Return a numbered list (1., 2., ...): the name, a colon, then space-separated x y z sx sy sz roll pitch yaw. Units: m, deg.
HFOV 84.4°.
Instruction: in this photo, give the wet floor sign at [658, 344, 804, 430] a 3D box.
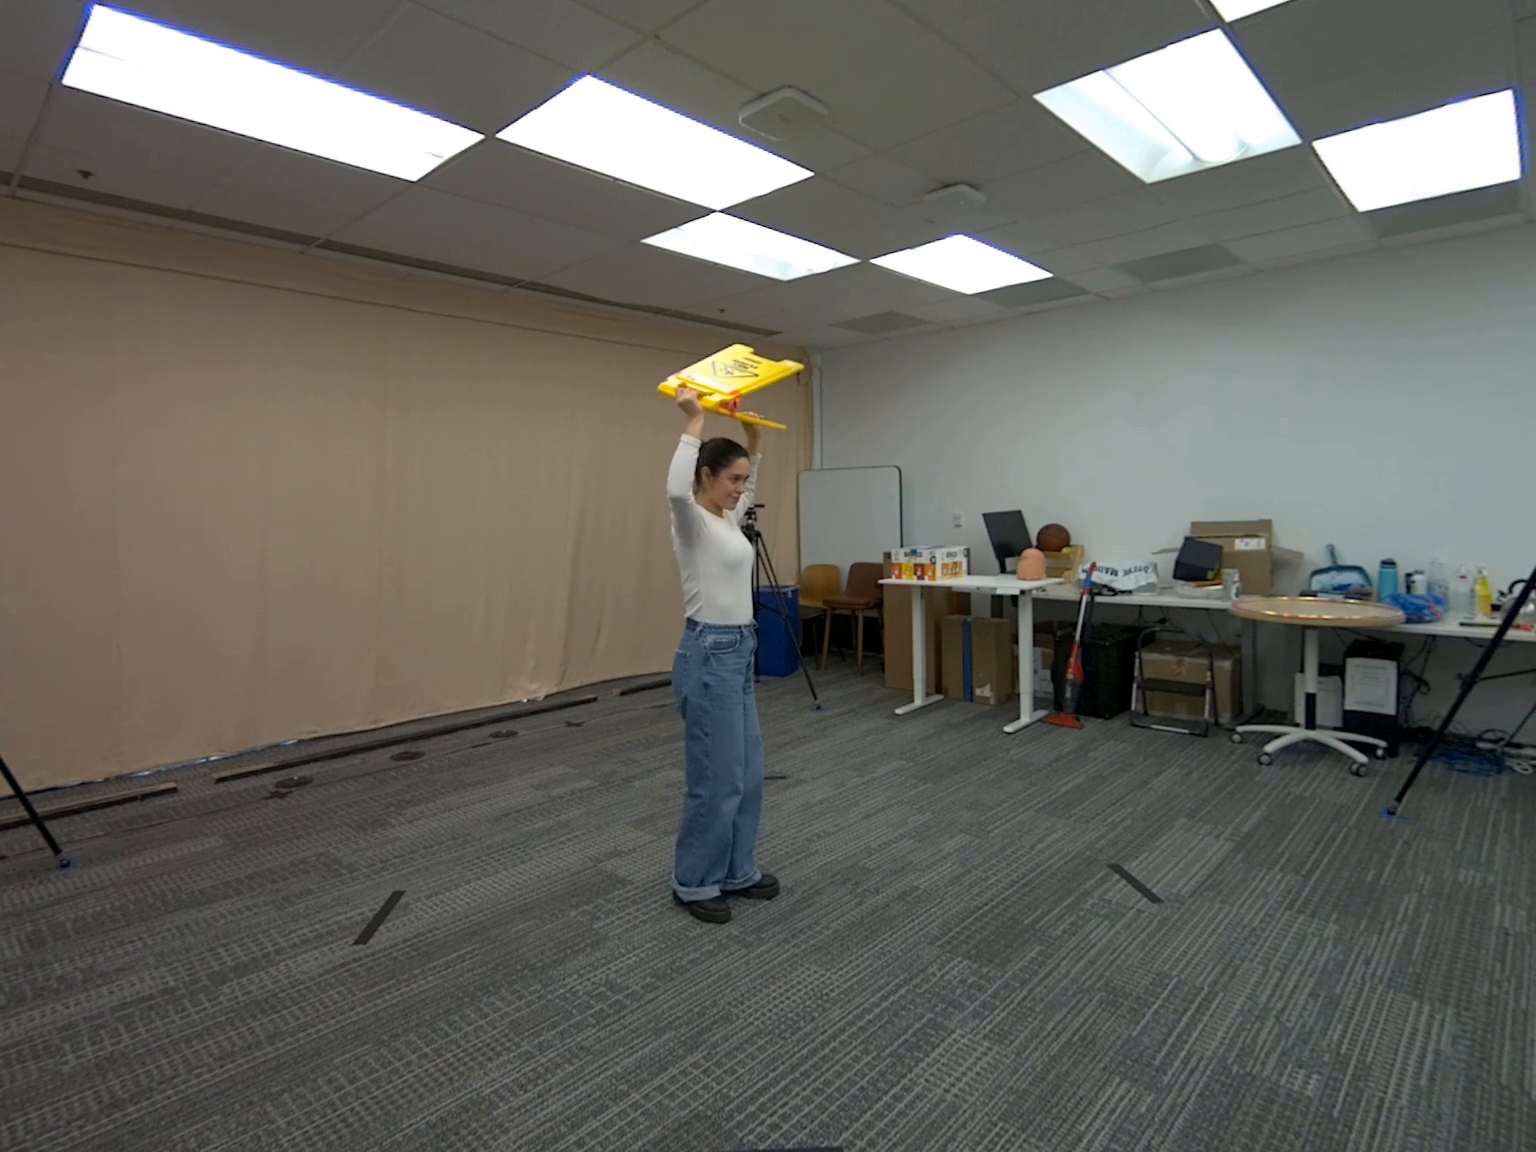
1. wet floor sign: -0.138 -0.621 2.841 0.288 0.288 0.636 21 20 16
